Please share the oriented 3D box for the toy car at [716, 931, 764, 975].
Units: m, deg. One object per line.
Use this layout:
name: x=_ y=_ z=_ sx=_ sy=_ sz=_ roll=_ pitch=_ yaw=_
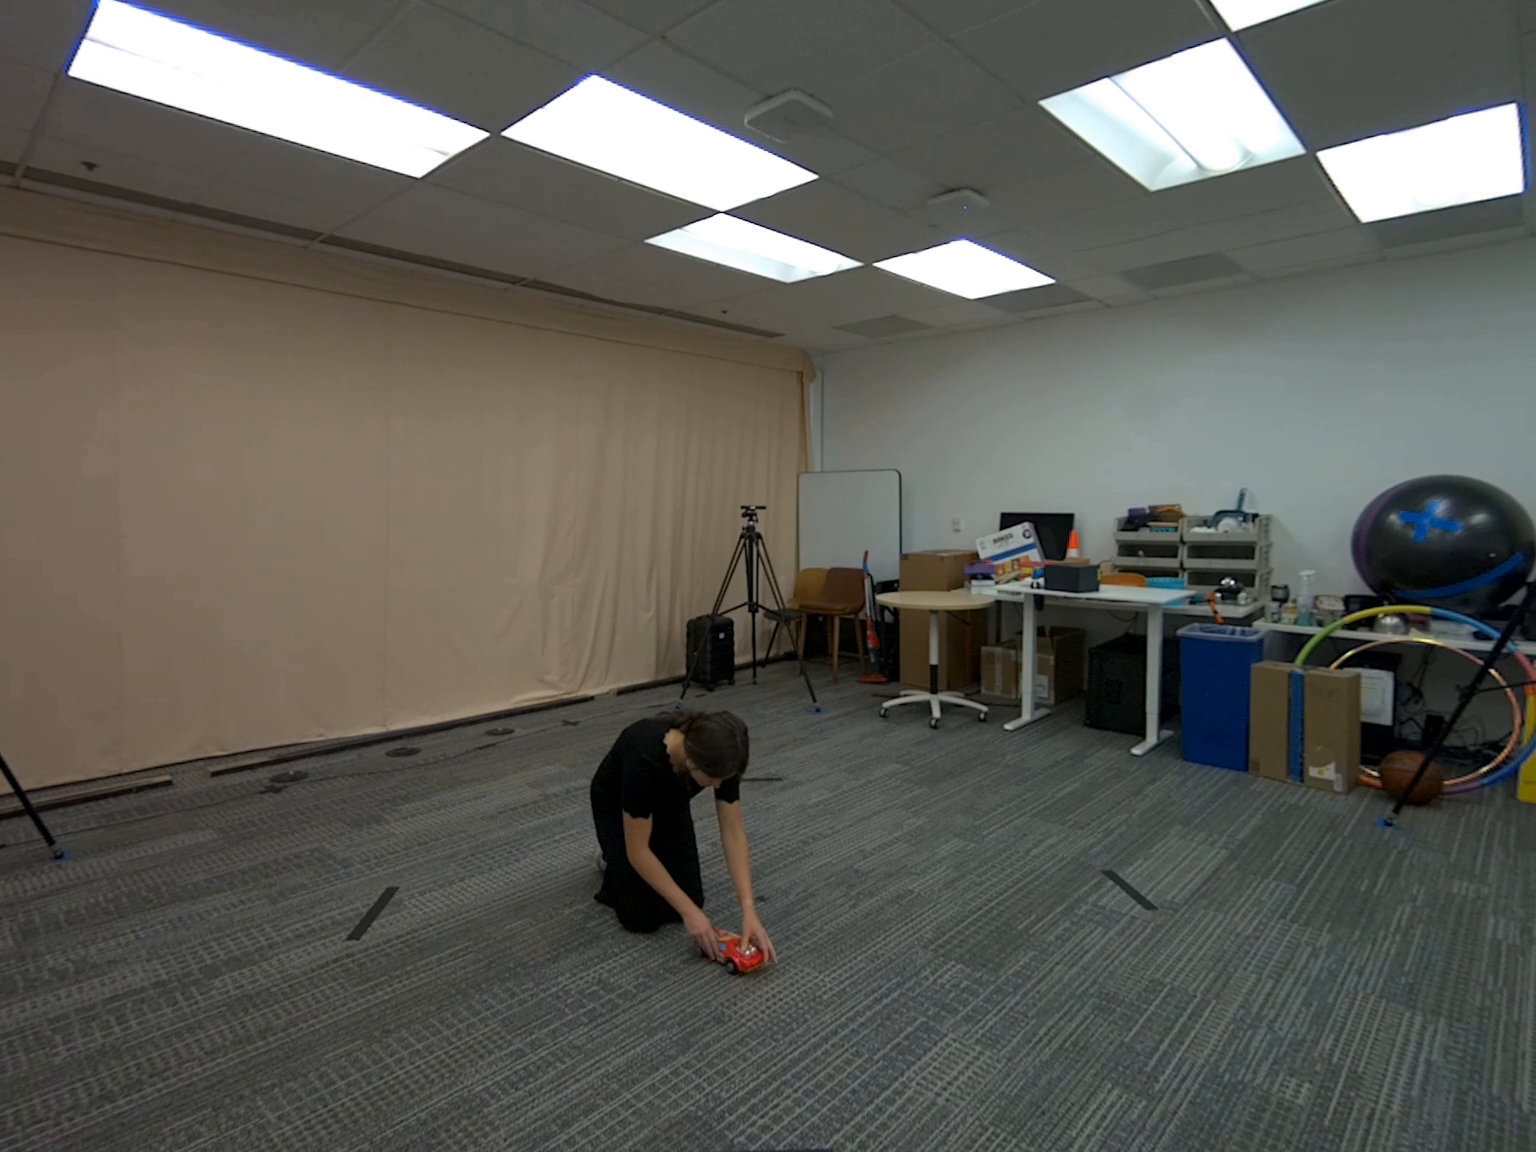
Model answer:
toy car: x=-0.113 y=1.153 z=2.566 sx=0.126 sy=0.083 sz=0.262 roll=-6 pitch=-2 yaw=-44
